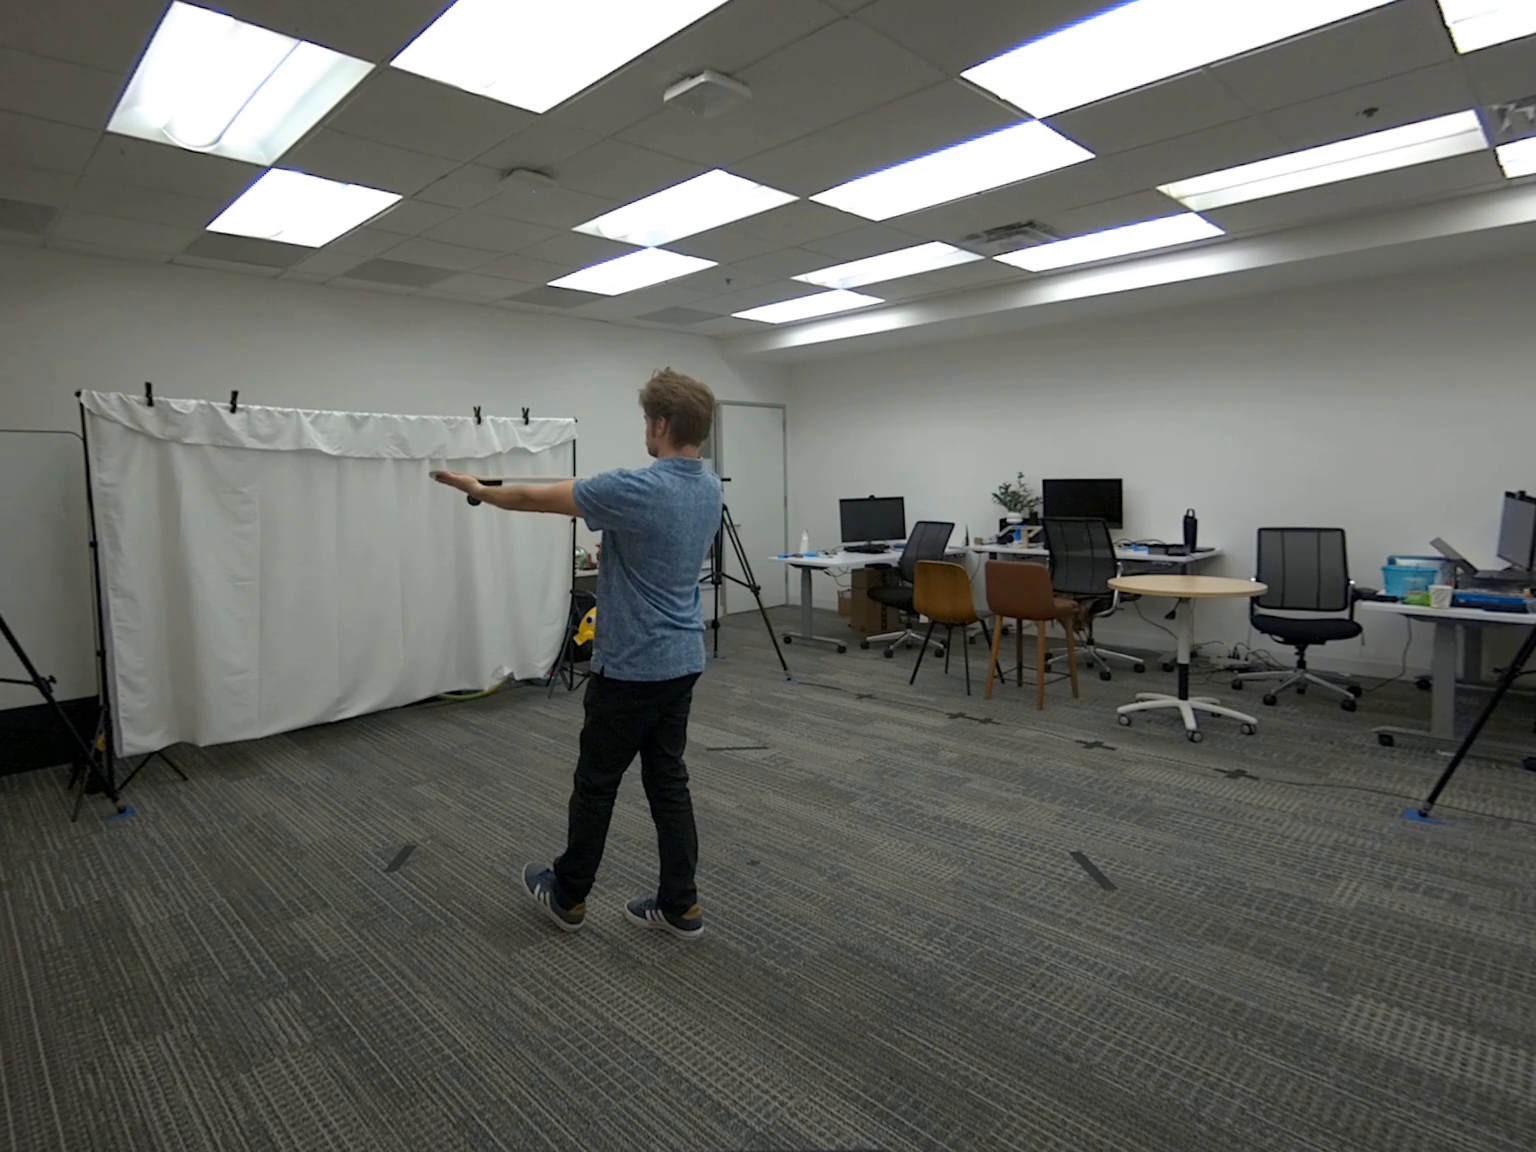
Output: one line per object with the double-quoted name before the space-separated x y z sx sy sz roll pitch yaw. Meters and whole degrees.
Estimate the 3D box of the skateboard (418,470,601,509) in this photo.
"skateboard" -0.797 -0.299 2.966 0.199 0.110 0.765 1 5 39
